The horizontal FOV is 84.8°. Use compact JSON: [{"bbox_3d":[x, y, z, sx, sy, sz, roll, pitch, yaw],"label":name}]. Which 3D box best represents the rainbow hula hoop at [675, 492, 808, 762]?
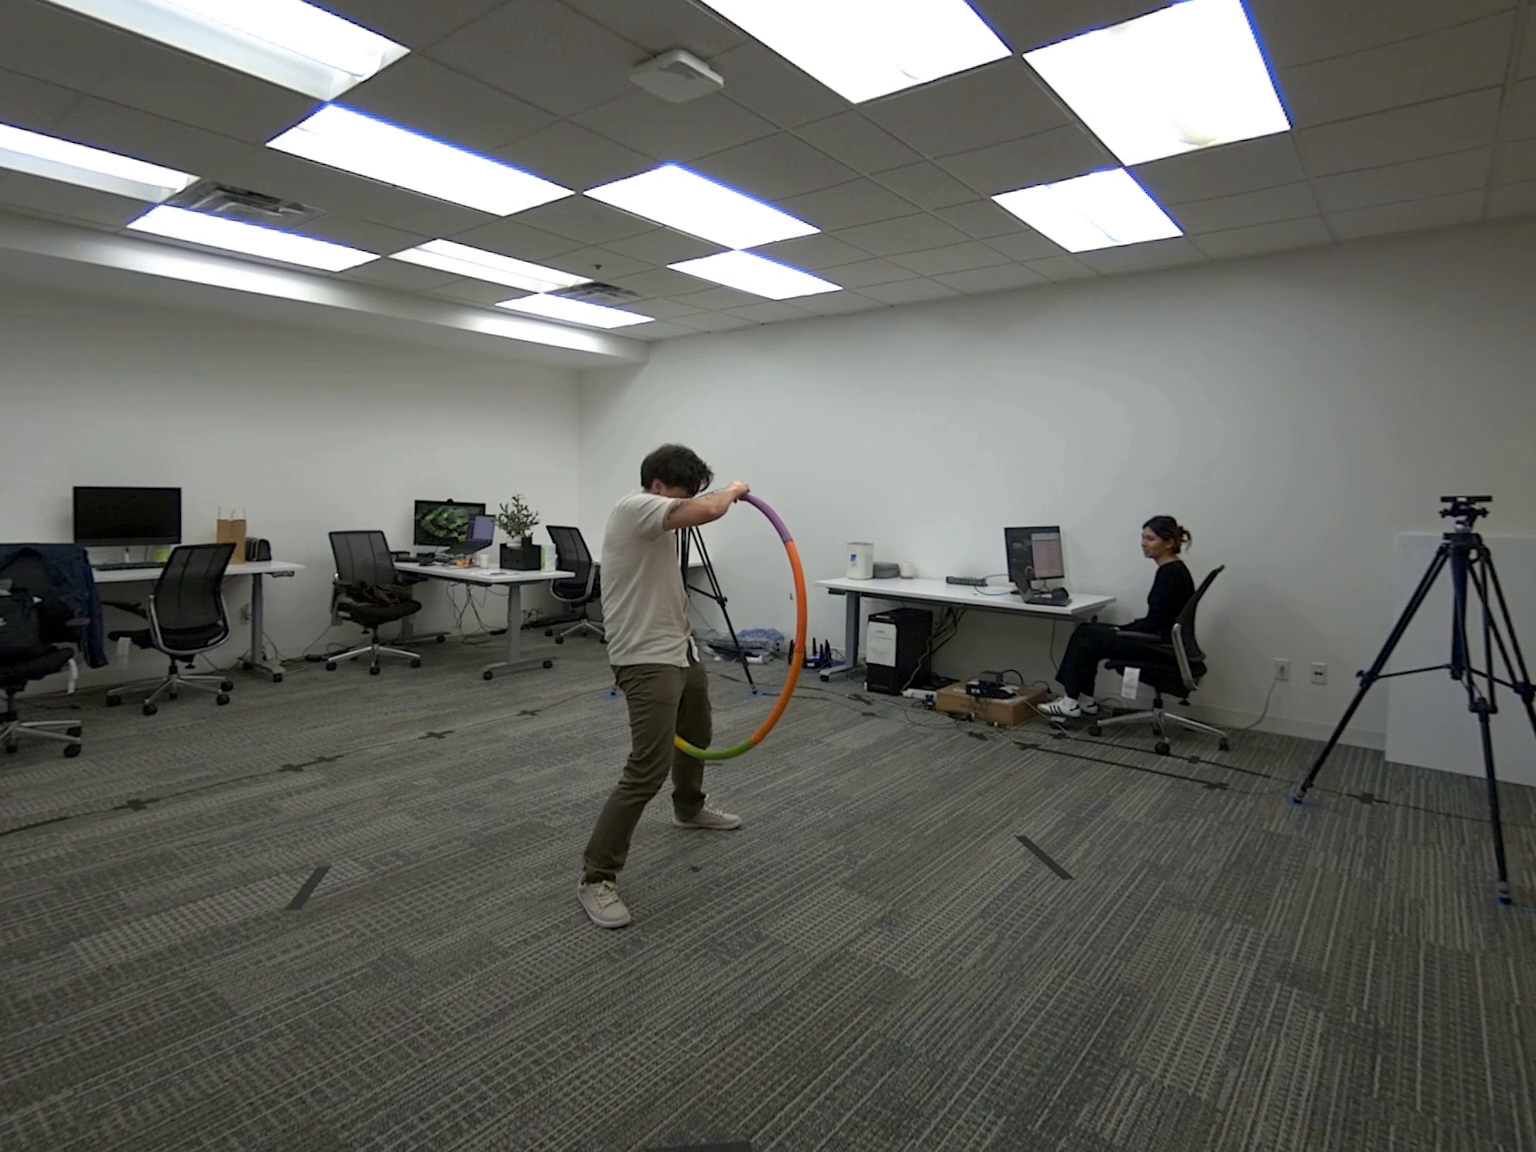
[{"bbox_3d":[-0.215,0.158,3.133,0.034,0.981,1.012,10,-3,-41],"label":"rainbow hula hoop"}]
